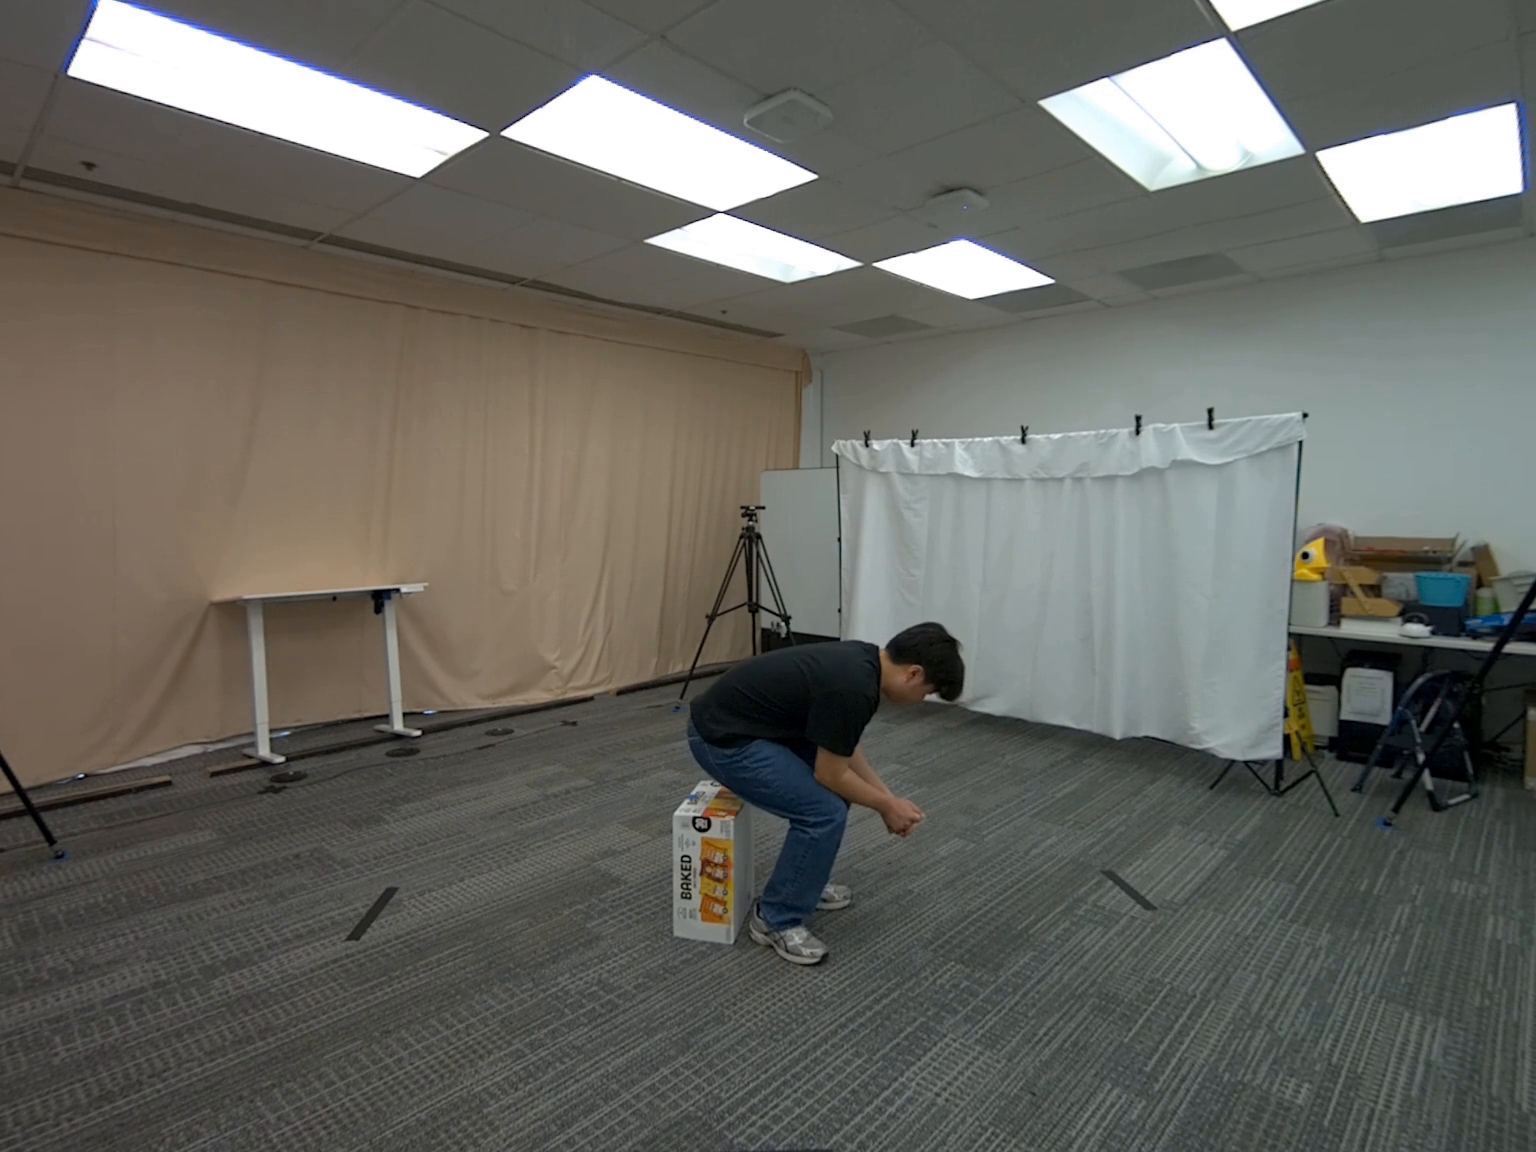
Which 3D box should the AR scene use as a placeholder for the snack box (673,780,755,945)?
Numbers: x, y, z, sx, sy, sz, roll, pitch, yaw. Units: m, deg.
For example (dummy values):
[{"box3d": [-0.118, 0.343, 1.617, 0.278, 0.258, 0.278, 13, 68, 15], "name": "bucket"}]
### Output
[{"box3d": [-0.172, 0.954, 2.850, 0.209, 0.404, 0.336, 0, 3, 12], "name": "snack box"}]
